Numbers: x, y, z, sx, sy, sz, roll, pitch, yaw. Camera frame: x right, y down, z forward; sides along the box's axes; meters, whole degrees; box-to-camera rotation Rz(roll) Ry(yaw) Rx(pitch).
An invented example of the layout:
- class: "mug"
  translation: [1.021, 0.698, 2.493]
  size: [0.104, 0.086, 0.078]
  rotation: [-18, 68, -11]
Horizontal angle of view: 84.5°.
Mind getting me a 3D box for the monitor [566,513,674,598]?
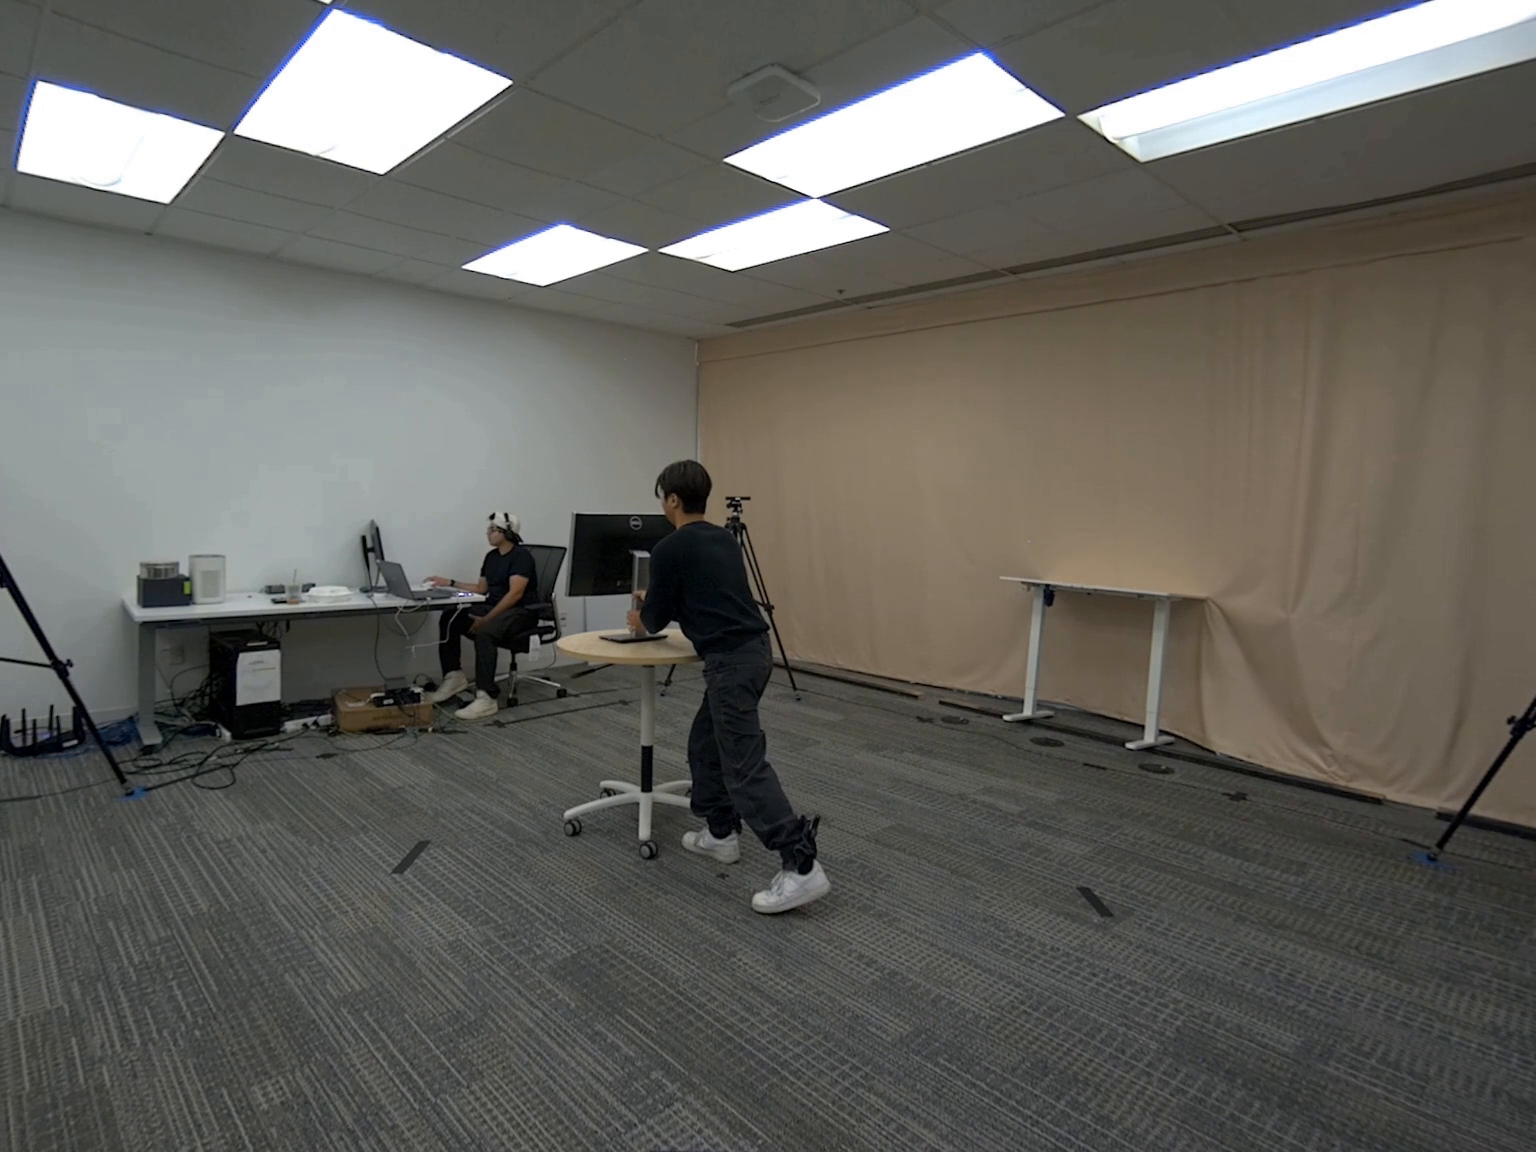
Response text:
- class: "monitor"
  translation: [-0.585, -0.005, 3.623]
  size: [0.518, 0.517, 0.178]
  rotation: [-4, -2, -41]
